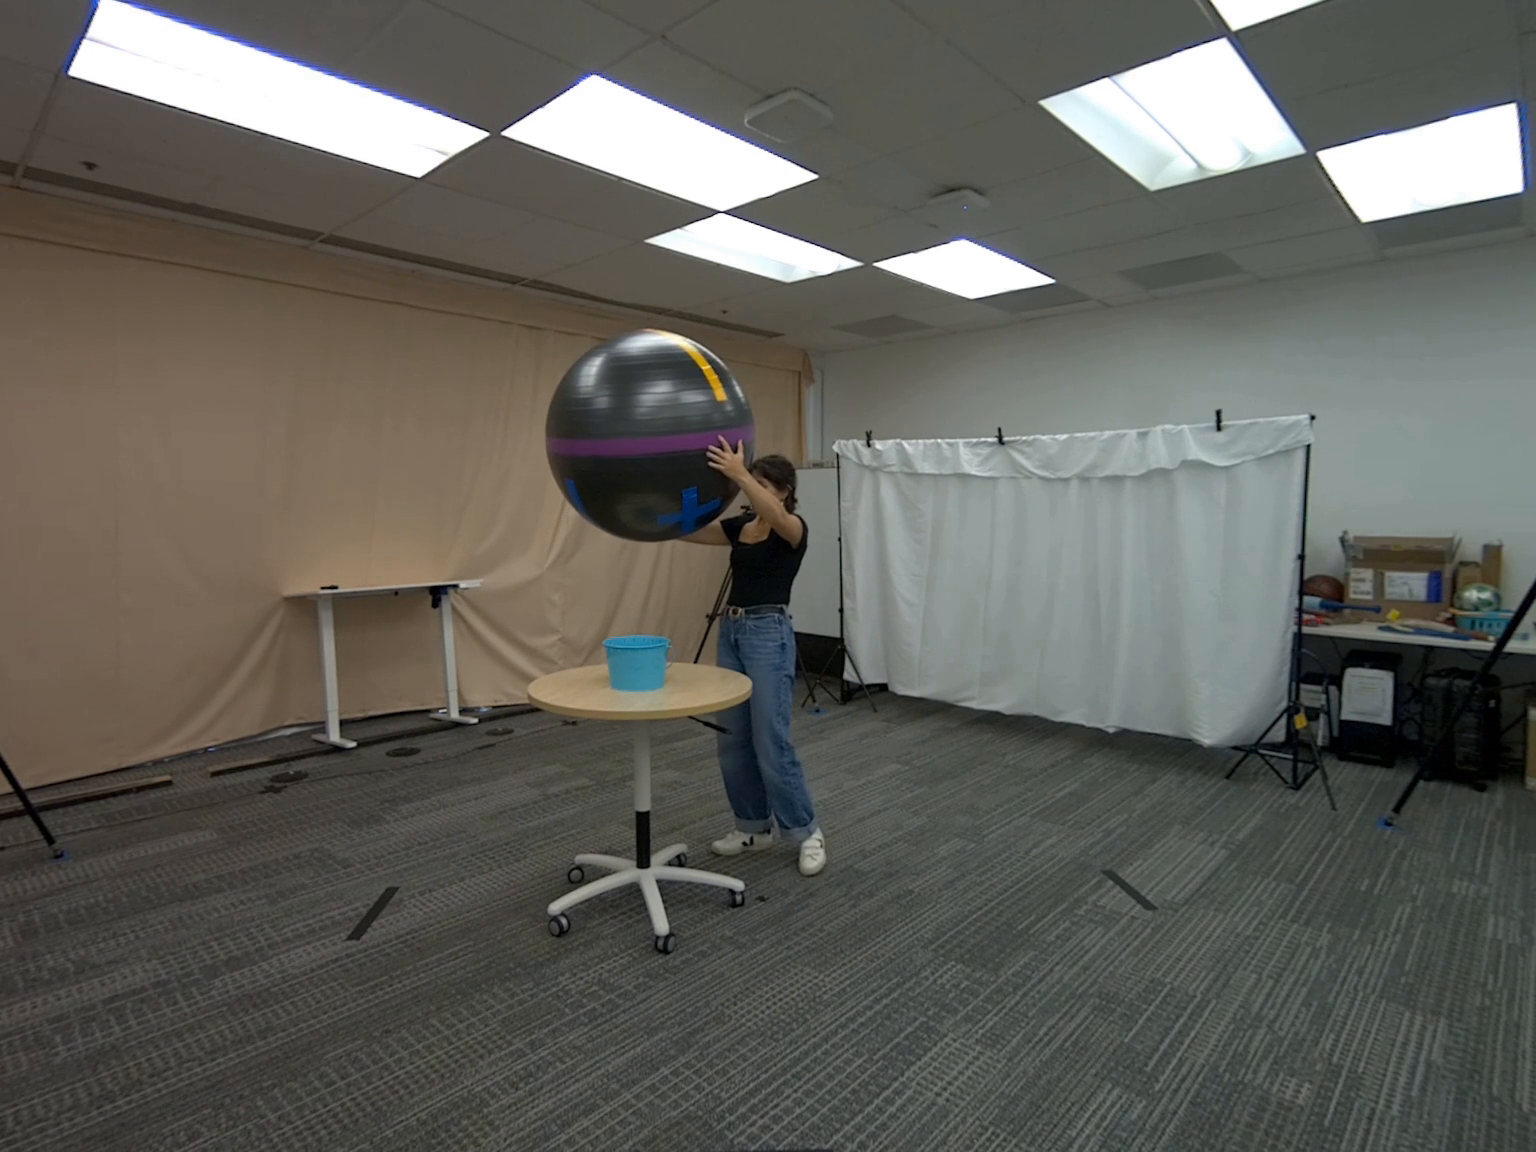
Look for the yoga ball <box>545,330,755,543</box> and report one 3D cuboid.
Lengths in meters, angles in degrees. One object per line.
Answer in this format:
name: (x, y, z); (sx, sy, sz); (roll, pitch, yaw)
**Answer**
yoga ball: (-0.440, -0.501, 3.067); (0.757, 0.756, 0.760); (0, 4, -2)
